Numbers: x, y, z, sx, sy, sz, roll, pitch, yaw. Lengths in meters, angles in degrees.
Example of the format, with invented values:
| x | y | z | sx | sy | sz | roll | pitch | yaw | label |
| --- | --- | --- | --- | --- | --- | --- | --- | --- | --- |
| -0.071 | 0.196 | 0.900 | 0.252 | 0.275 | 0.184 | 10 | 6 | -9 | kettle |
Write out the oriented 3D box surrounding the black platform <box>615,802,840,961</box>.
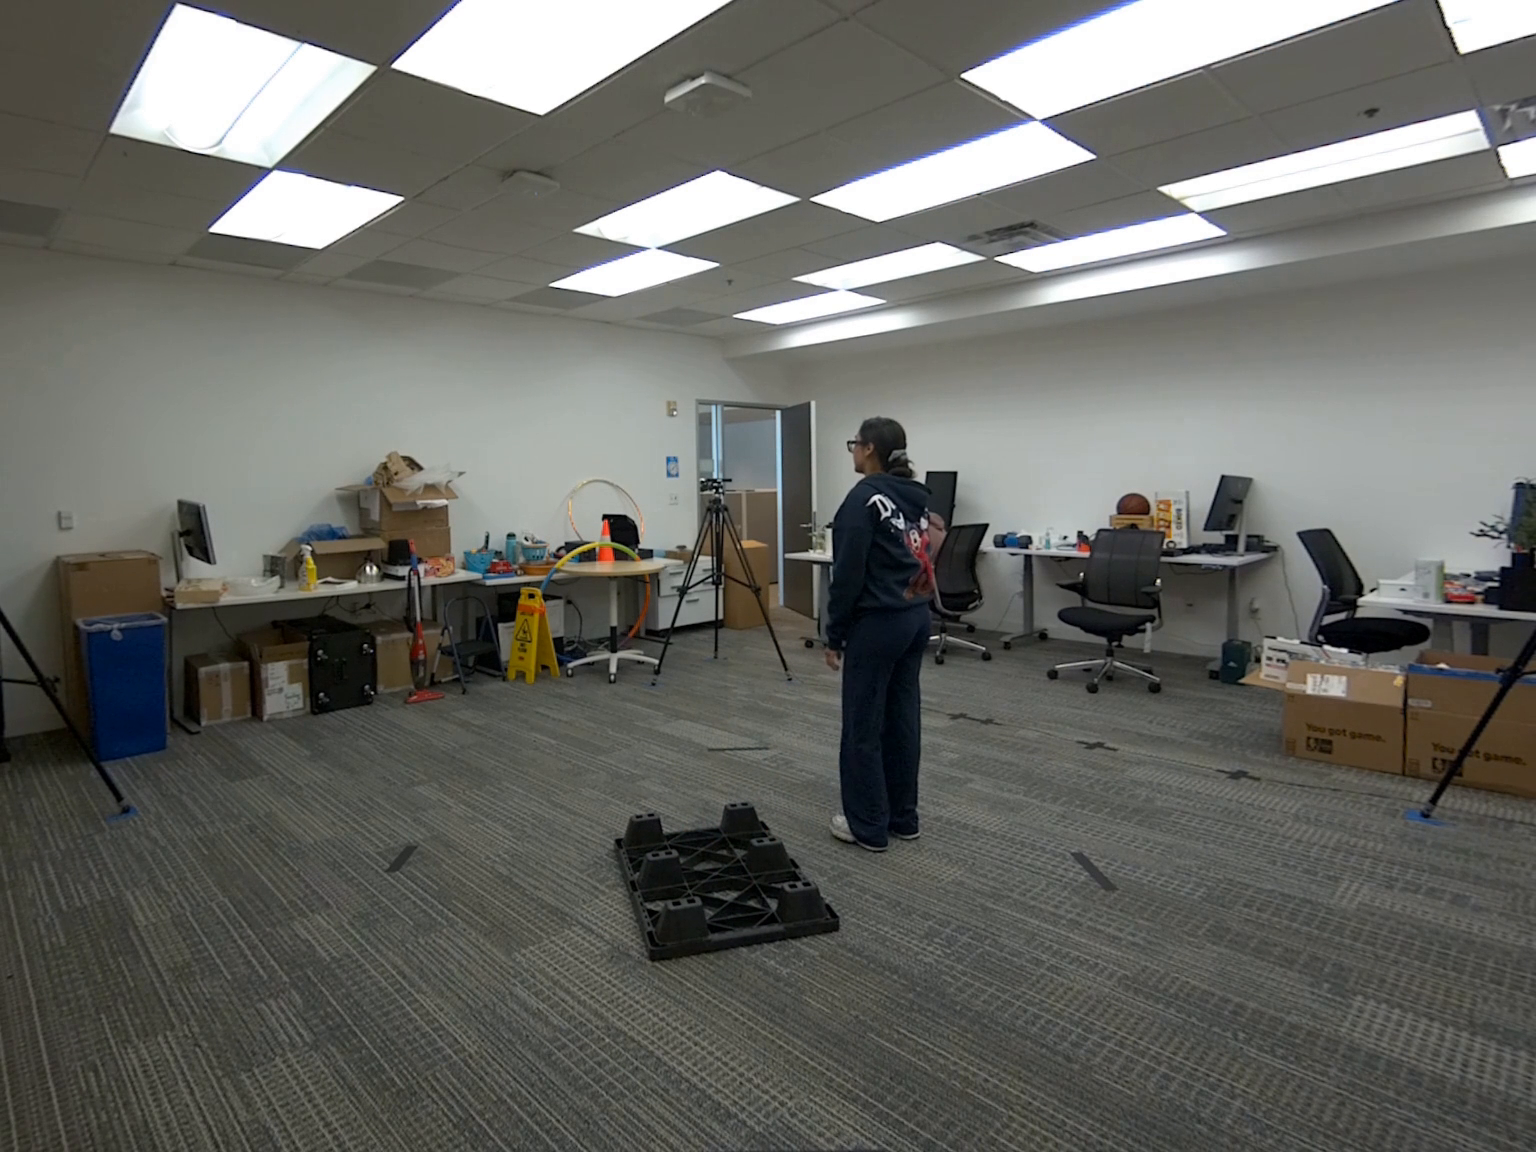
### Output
| x | y | z | sx | sy | sz | roll | pitch | yaw | label |
| --- | --- | --- | --- | --- | --- | --- | --- | --- | --- |
| -0.176 | 0.995 | 2.932 | 0.596 | 0.142 | 0.822 | -3 | 7 | -17 | black platform |
